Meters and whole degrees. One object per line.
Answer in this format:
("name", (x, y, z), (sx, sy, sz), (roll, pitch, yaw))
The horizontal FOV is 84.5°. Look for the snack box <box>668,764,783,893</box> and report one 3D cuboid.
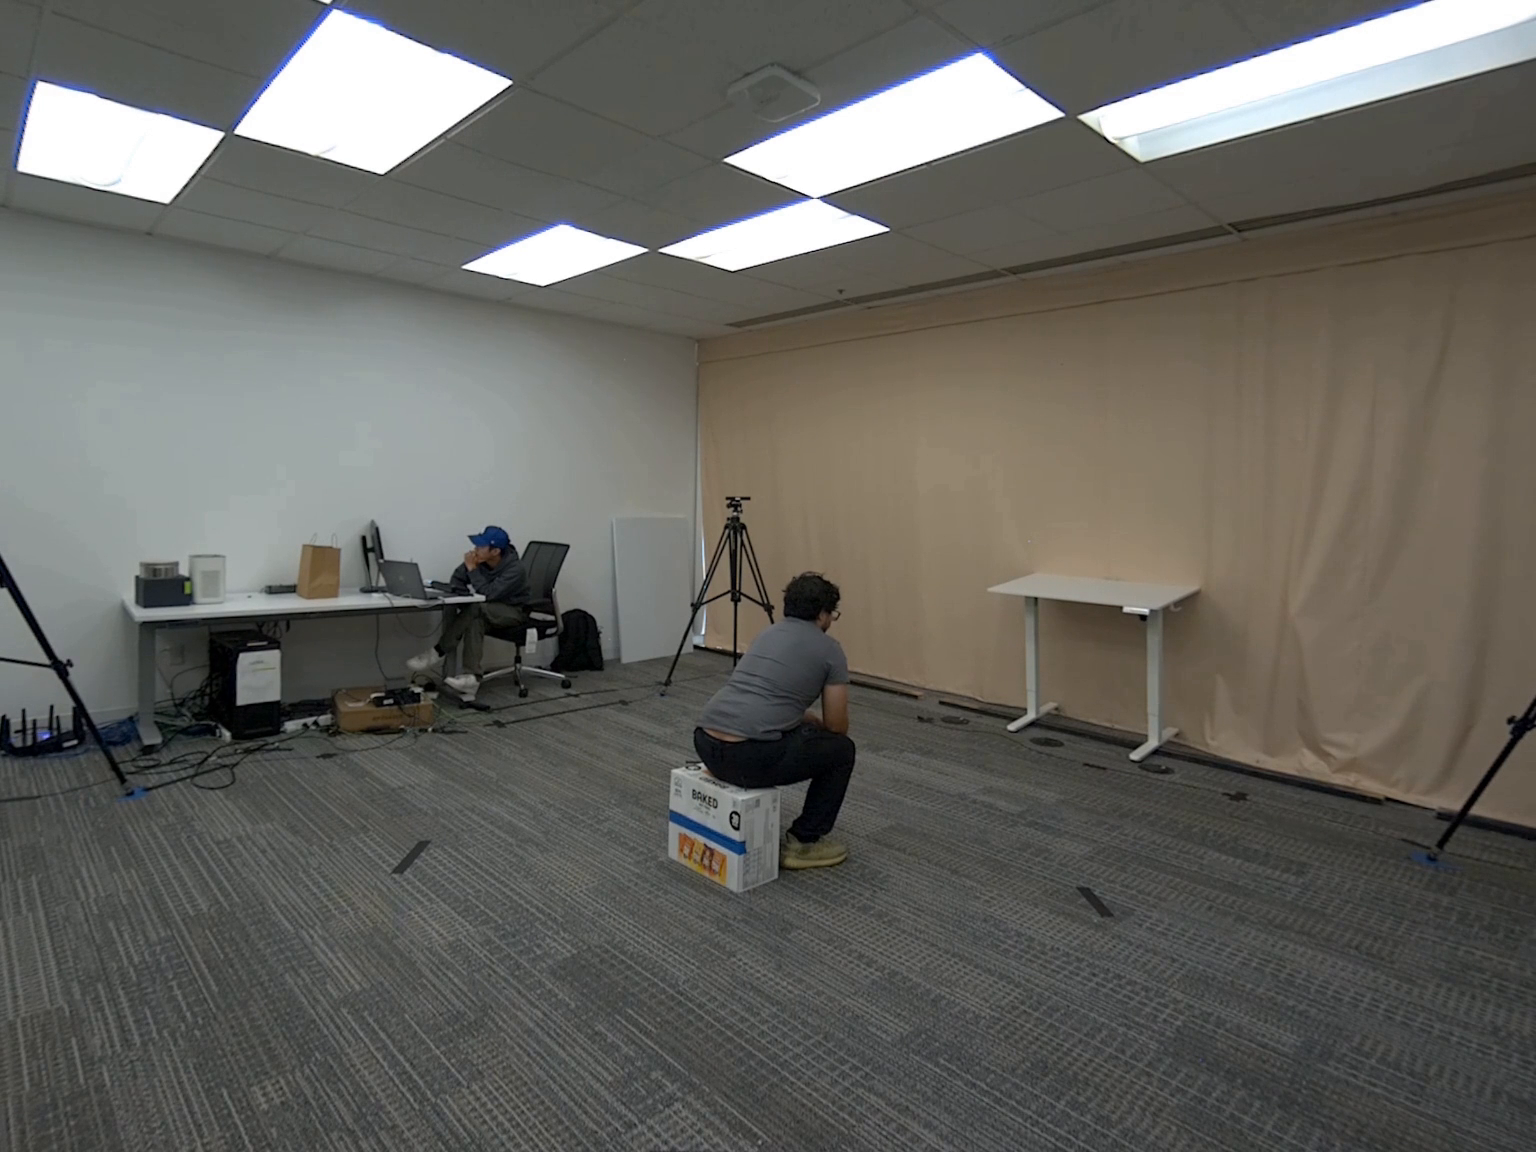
("snack box", (-0.178, 0.933, 3.165), (0.201, 0.339, 0.416), (-1, 5, -44))
